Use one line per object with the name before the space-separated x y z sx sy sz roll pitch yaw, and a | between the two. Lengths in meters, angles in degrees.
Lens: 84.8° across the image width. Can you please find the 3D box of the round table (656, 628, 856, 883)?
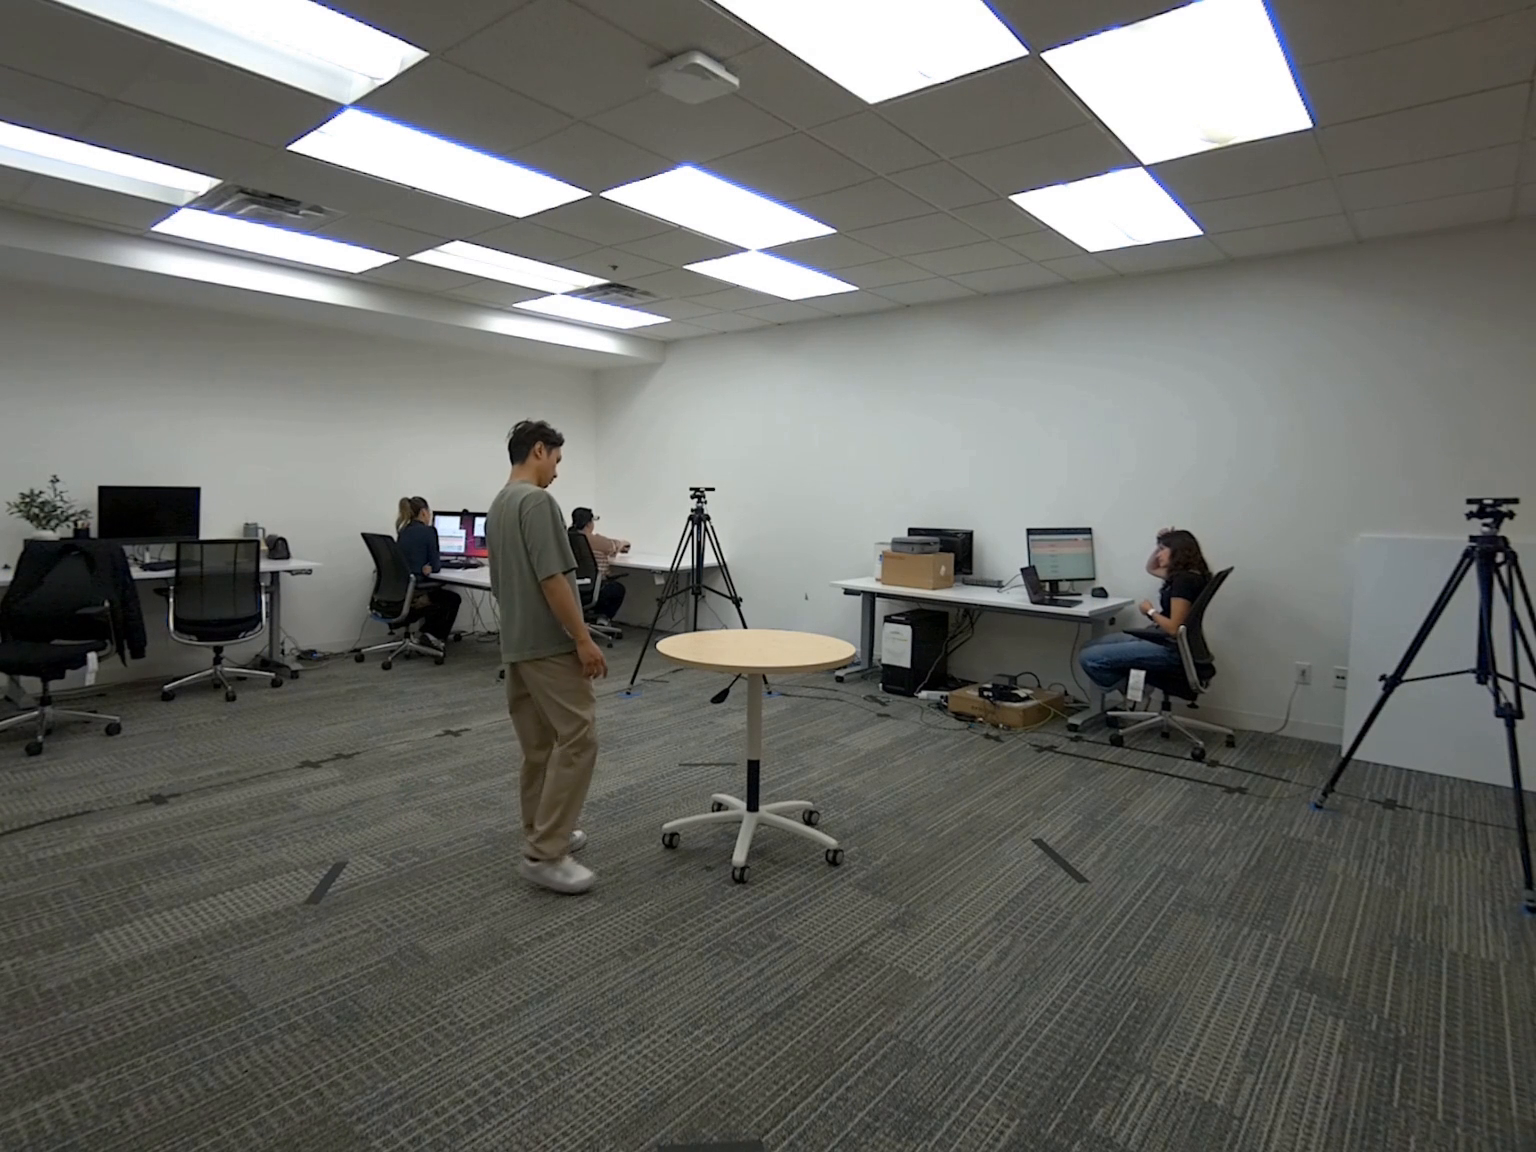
round table | -0.065 0.661 3.287 0.784 0.783 0.789 0 5 -2
